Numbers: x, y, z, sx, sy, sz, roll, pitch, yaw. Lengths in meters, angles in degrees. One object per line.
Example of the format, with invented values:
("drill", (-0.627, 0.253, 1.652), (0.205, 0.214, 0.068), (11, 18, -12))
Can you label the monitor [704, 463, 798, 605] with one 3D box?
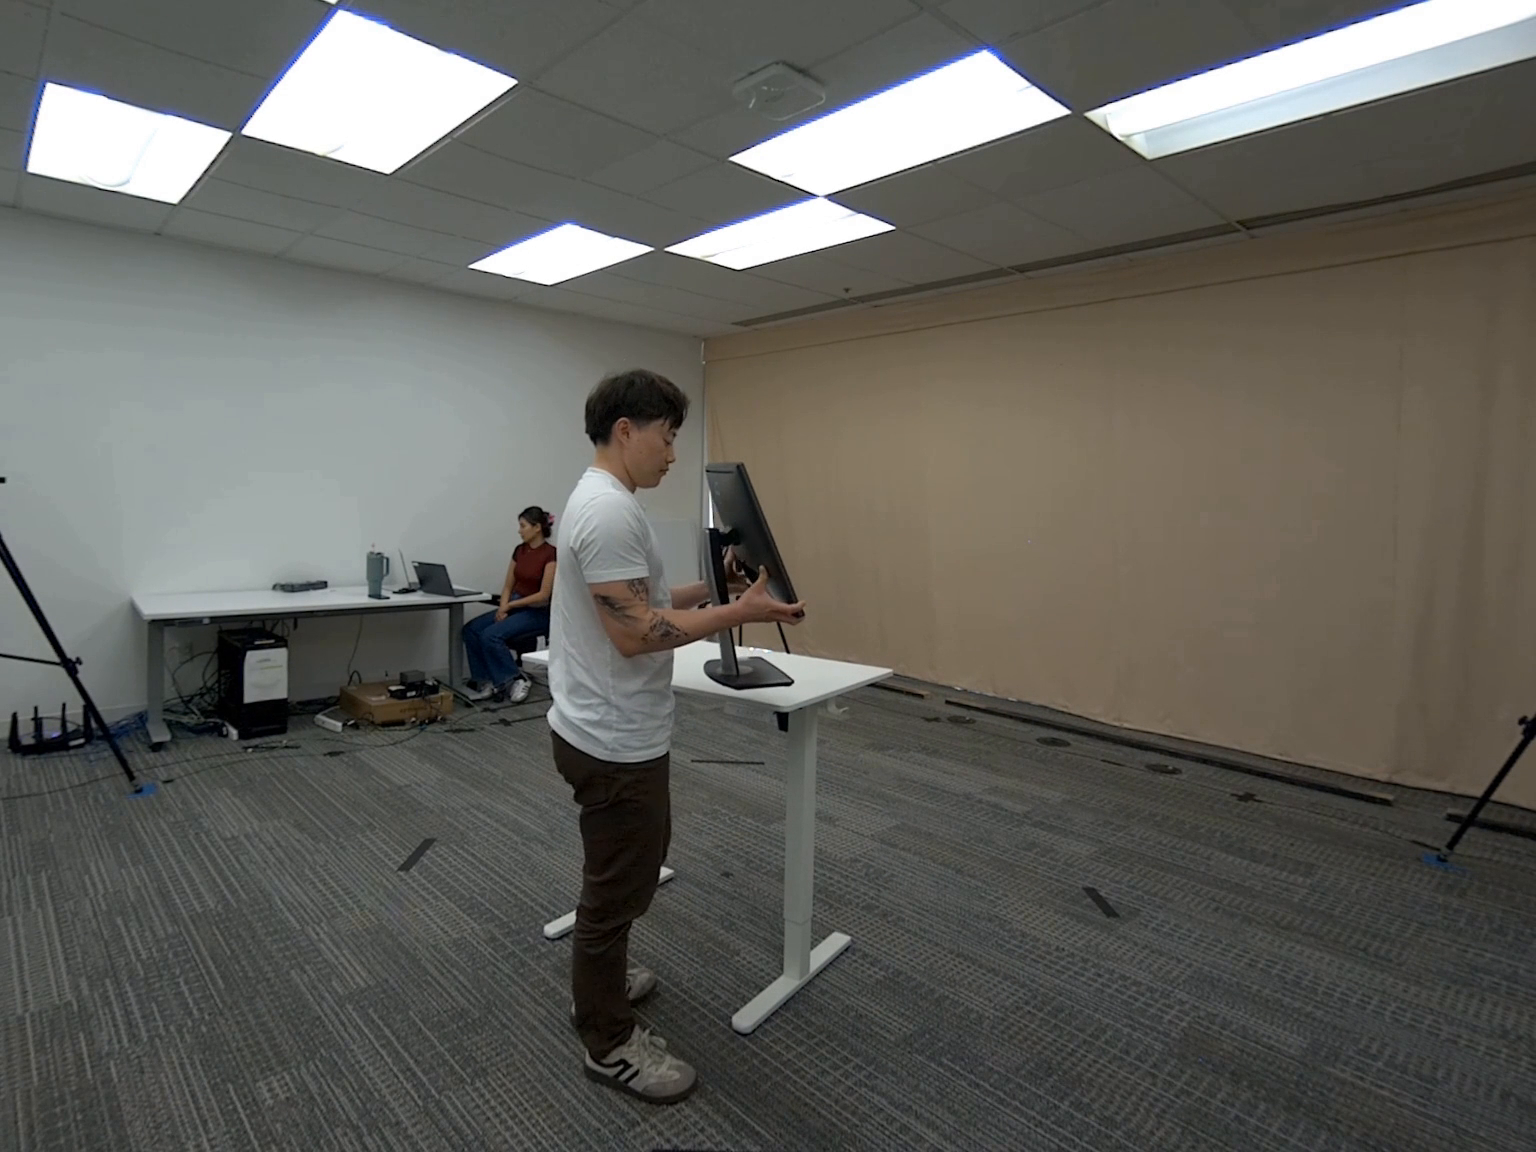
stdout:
("monitor", (-0.081, -0.016, 2.014), (0.186, 0.519, 0.546), (-7, 8, -11))
